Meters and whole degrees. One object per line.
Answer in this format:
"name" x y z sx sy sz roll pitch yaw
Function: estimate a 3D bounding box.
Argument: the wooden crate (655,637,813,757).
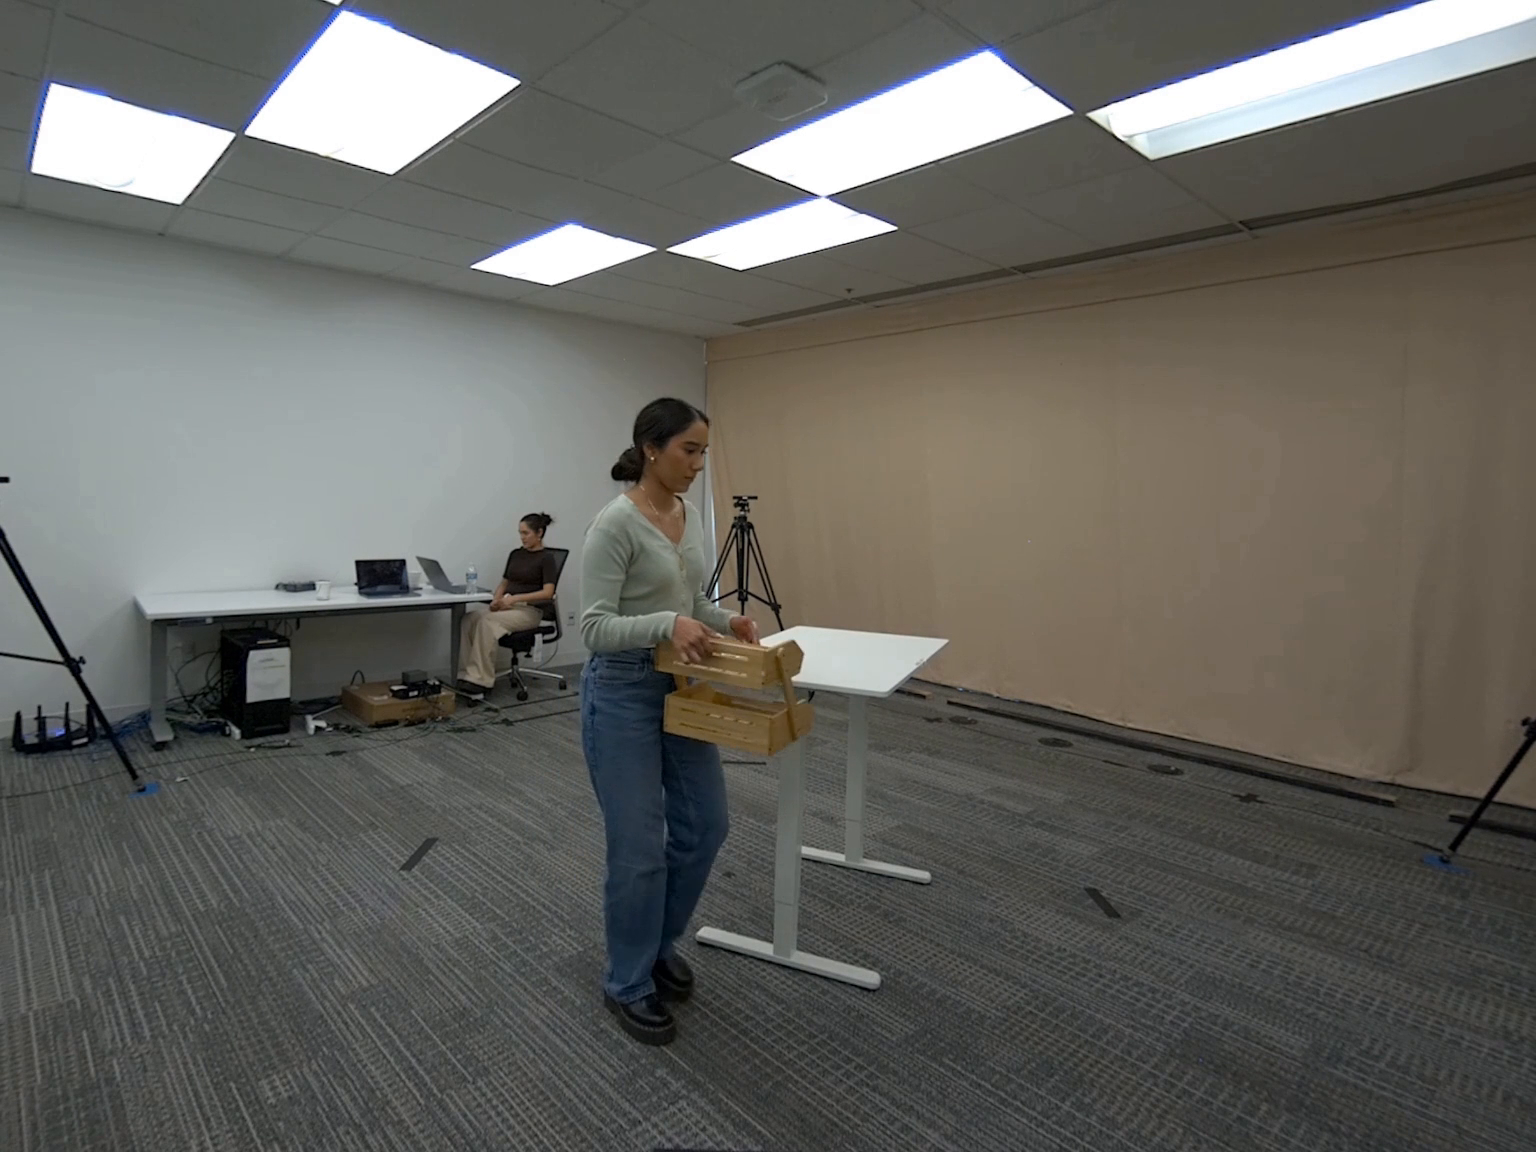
"wooden crate" -0.085 0.263 2.094 0.331 0.272 0.297 6 9 28
